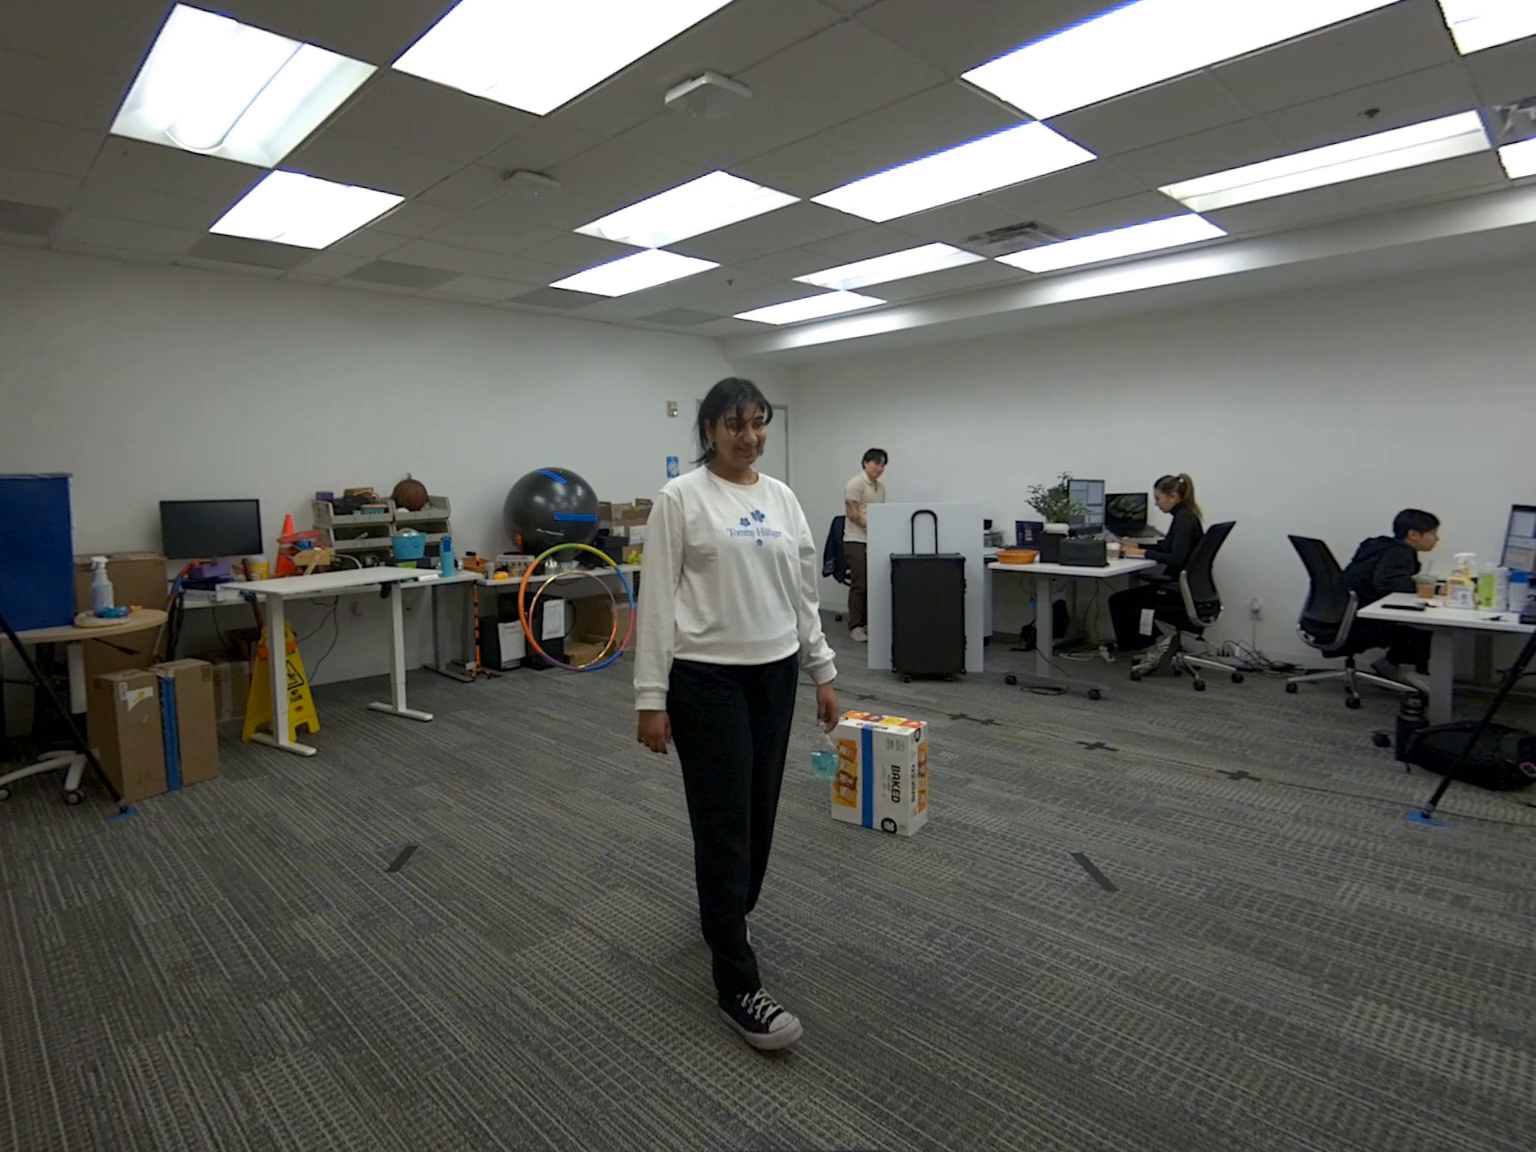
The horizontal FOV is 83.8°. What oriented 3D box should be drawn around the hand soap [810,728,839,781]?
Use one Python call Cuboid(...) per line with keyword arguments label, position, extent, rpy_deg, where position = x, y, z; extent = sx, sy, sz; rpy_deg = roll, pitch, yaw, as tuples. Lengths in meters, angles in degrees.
Cuboid(label="hand soap", position=(0.169, 0.512, 2.508), extent=(0.086, 0.166, 0.043), rpy_deg=(1, 16, 13))
